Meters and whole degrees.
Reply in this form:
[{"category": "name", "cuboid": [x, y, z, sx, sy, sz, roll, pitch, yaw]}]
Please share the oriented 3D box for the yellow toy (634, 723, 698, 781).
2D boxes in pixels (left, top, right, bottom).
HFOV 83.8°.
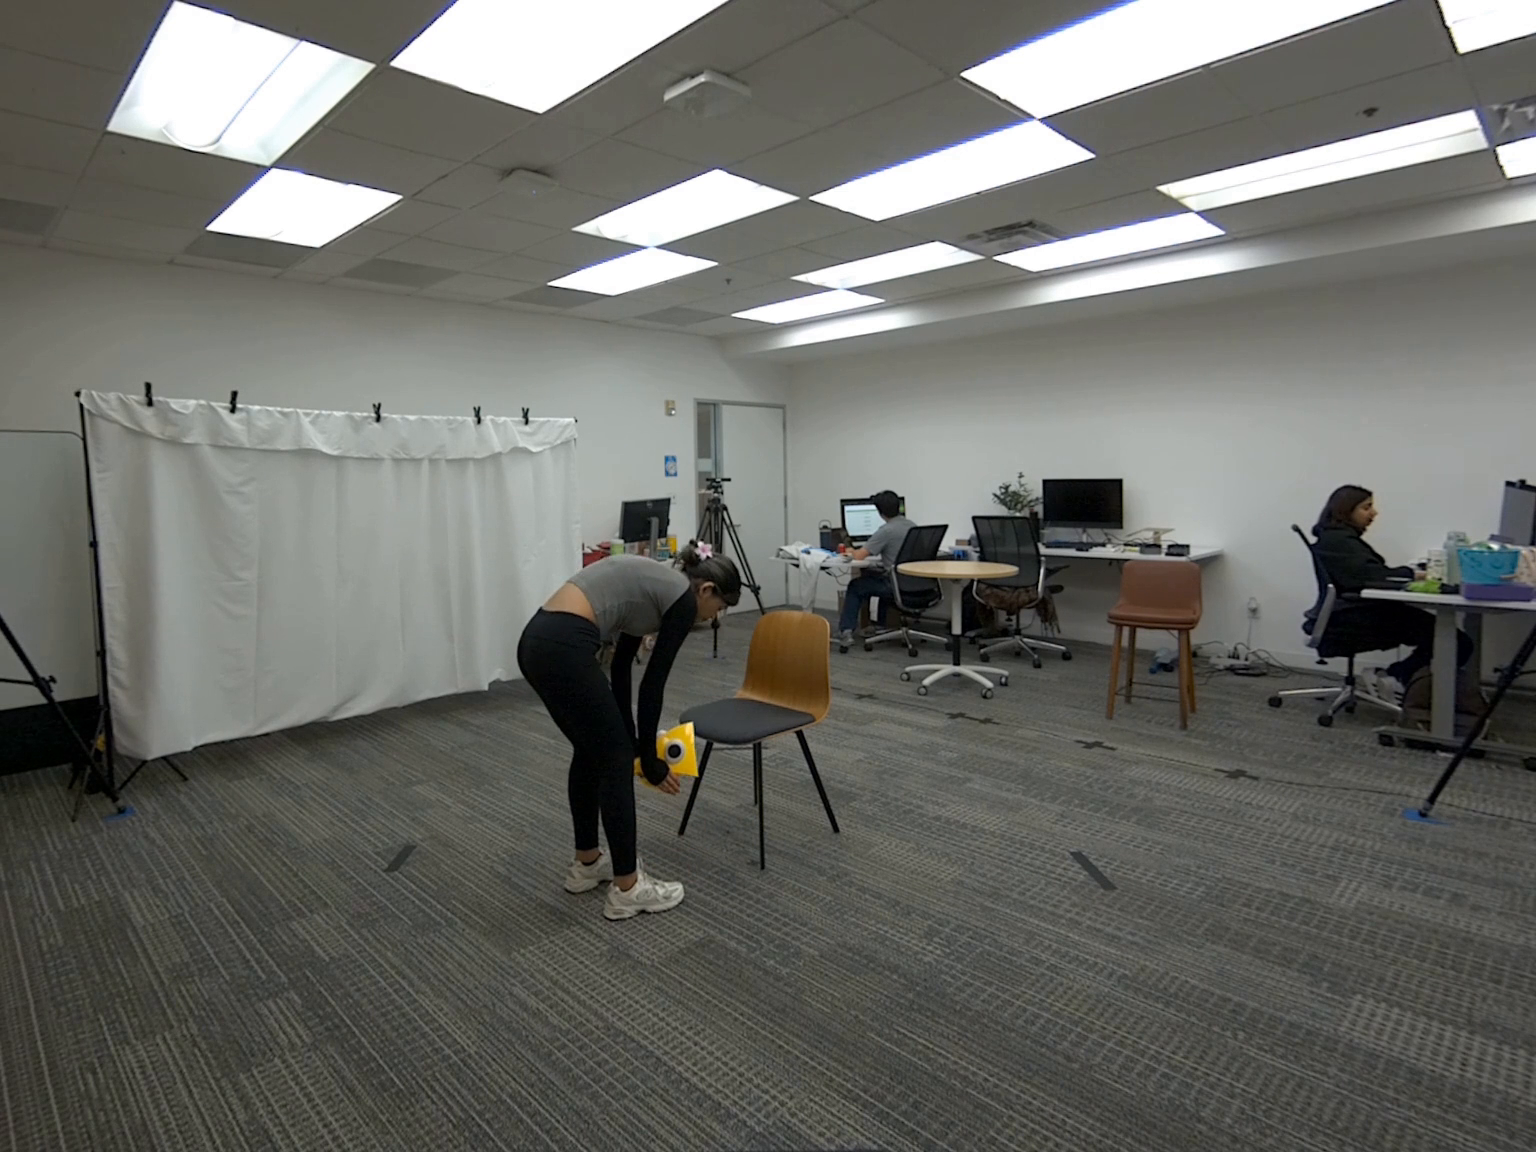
[{"category": "yellow toy", "cuboid": [-0.345, 0.591, 2.924, 0.186, 0.231, 0.211, 26, -5, -35]}]
